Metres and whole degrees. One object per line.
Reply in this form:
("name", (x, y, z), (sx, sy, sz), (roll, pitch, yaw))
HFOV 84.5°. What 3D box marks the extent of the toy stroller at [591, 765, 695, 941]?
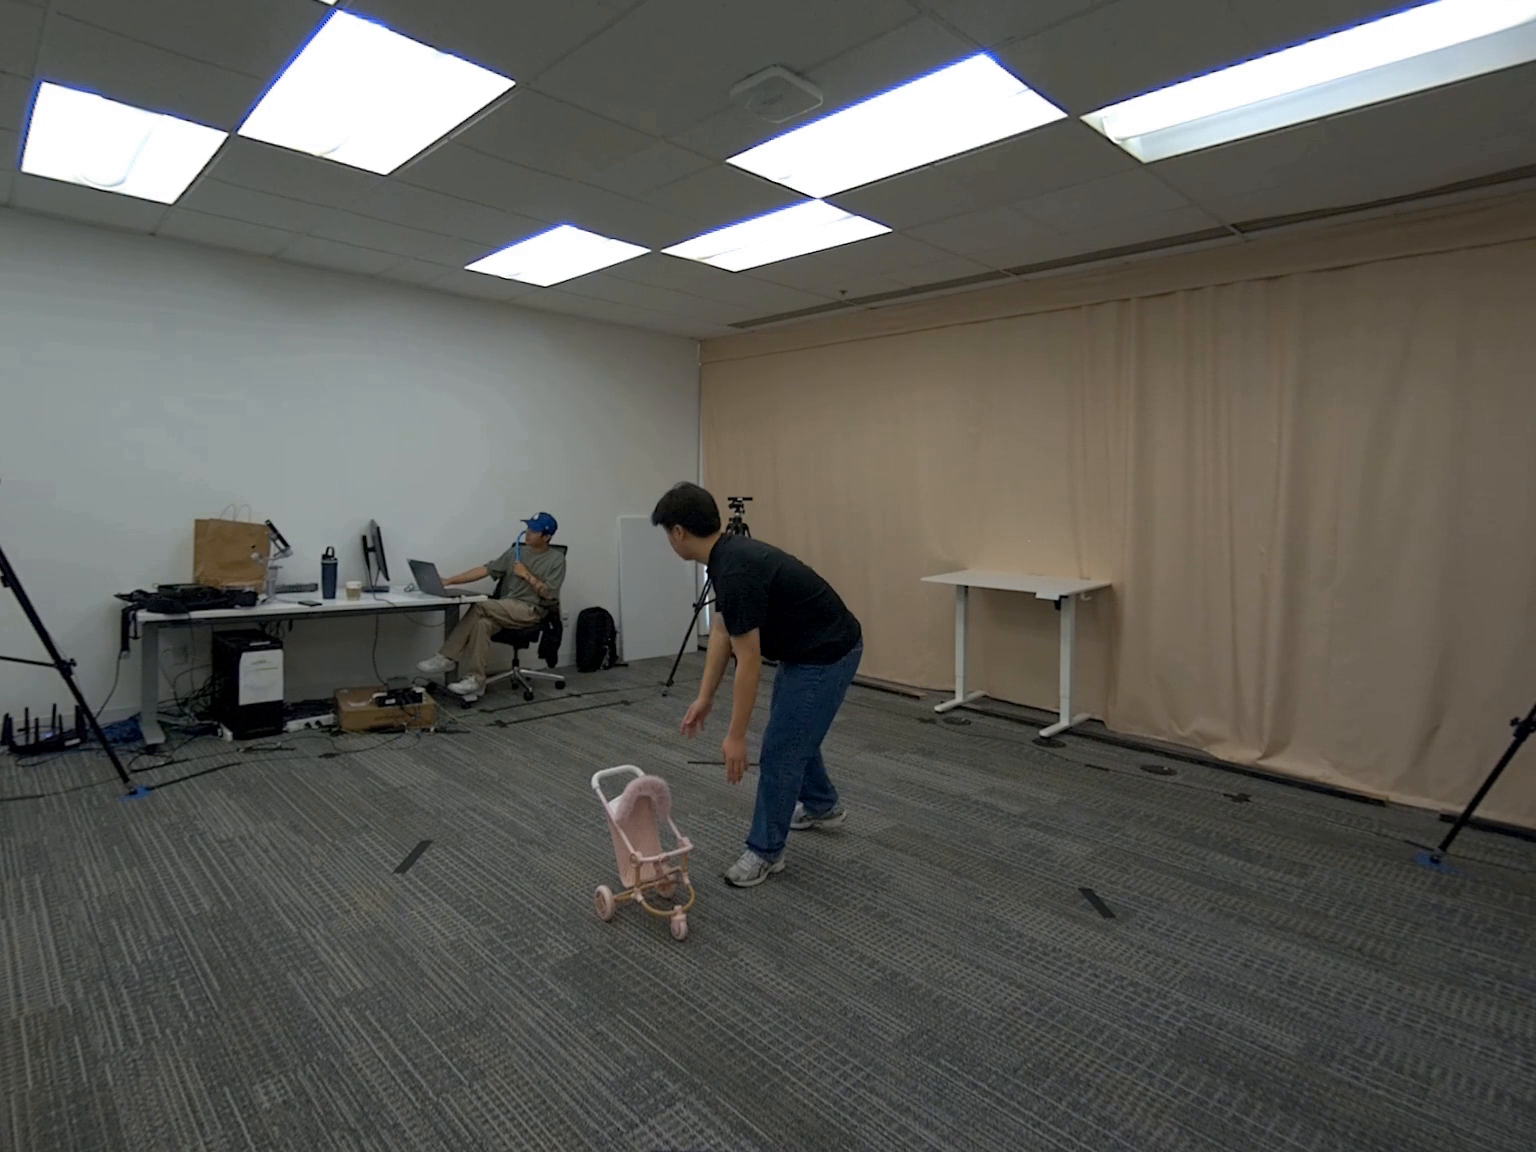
("toy stroller", (-0.408, 0.906, 2.782), (0.275, 0.539, 0.346), (-1, -11, -37))
